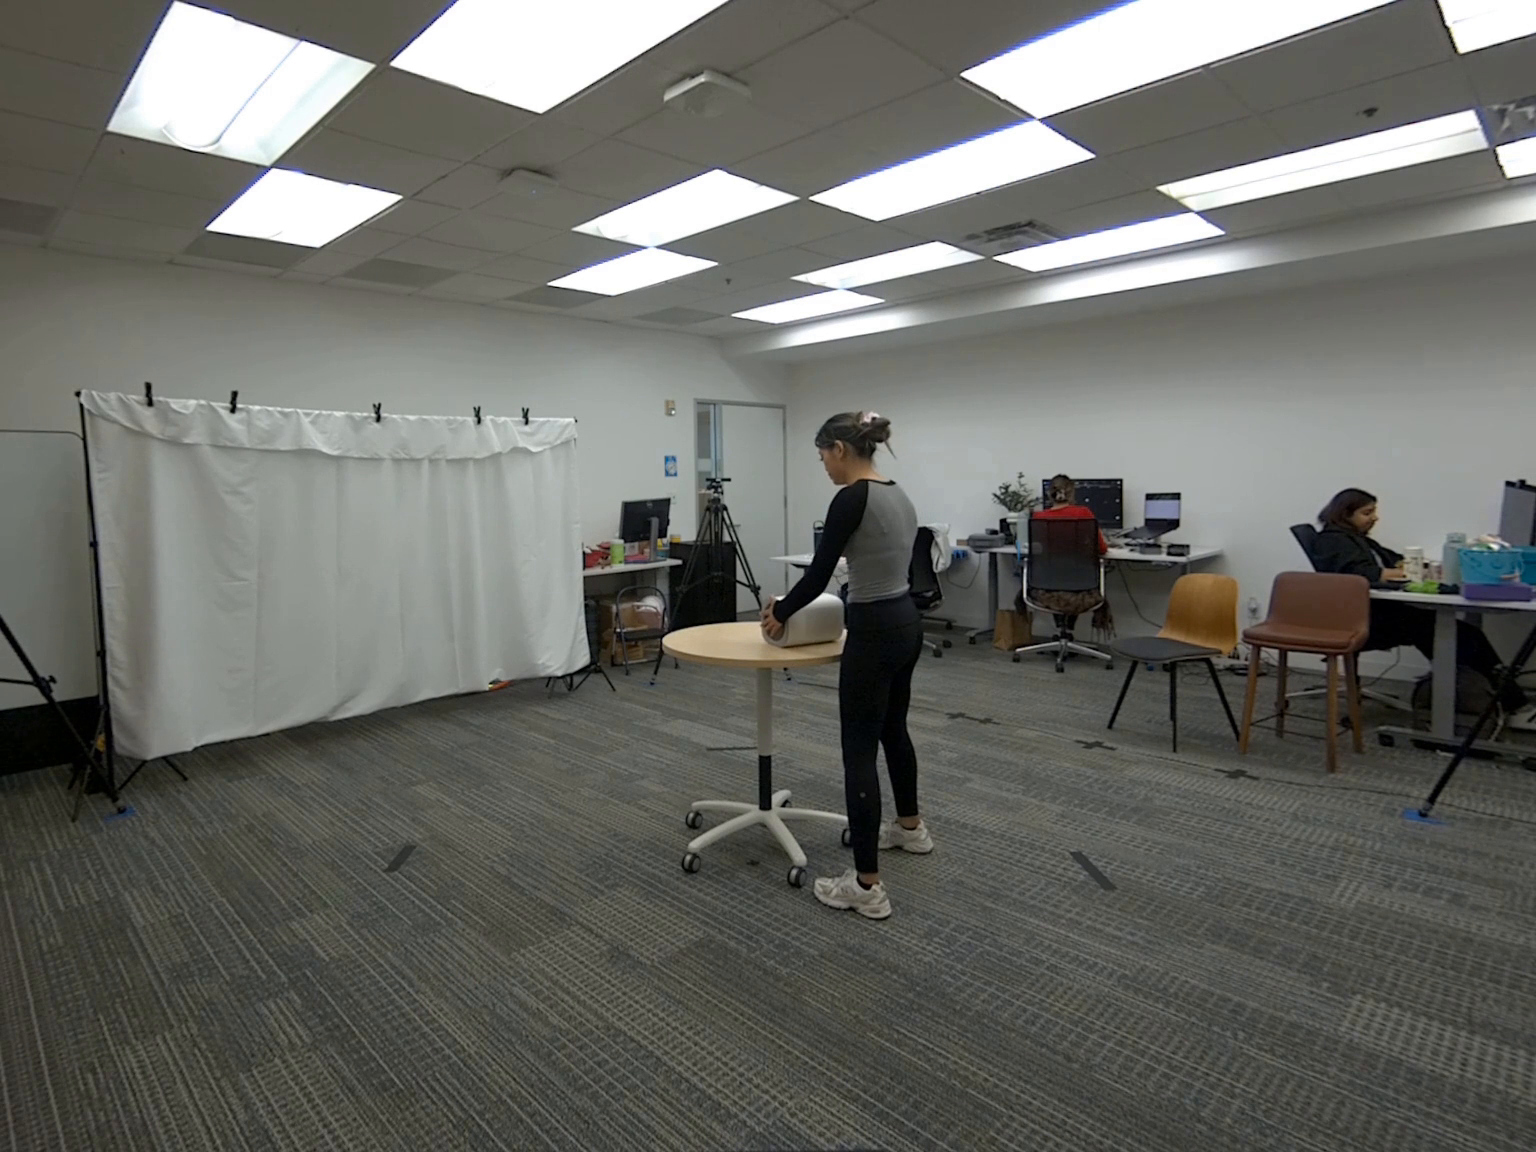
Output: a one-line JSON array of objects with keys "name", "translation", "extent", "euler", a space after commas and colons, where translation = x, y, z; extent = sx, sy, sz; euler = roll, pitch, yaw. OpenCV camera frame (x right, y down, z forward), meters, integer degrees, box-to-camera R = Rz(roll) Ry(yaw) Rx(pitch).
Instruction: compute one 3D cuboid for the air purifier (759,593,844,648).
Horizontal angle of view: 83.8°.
[{"name": "air purifier", "translation": [0.134, 0.156, 3.136], "extent": [0.259, 0.171, 0.176], "euler": [-3, 8, -29]}]
